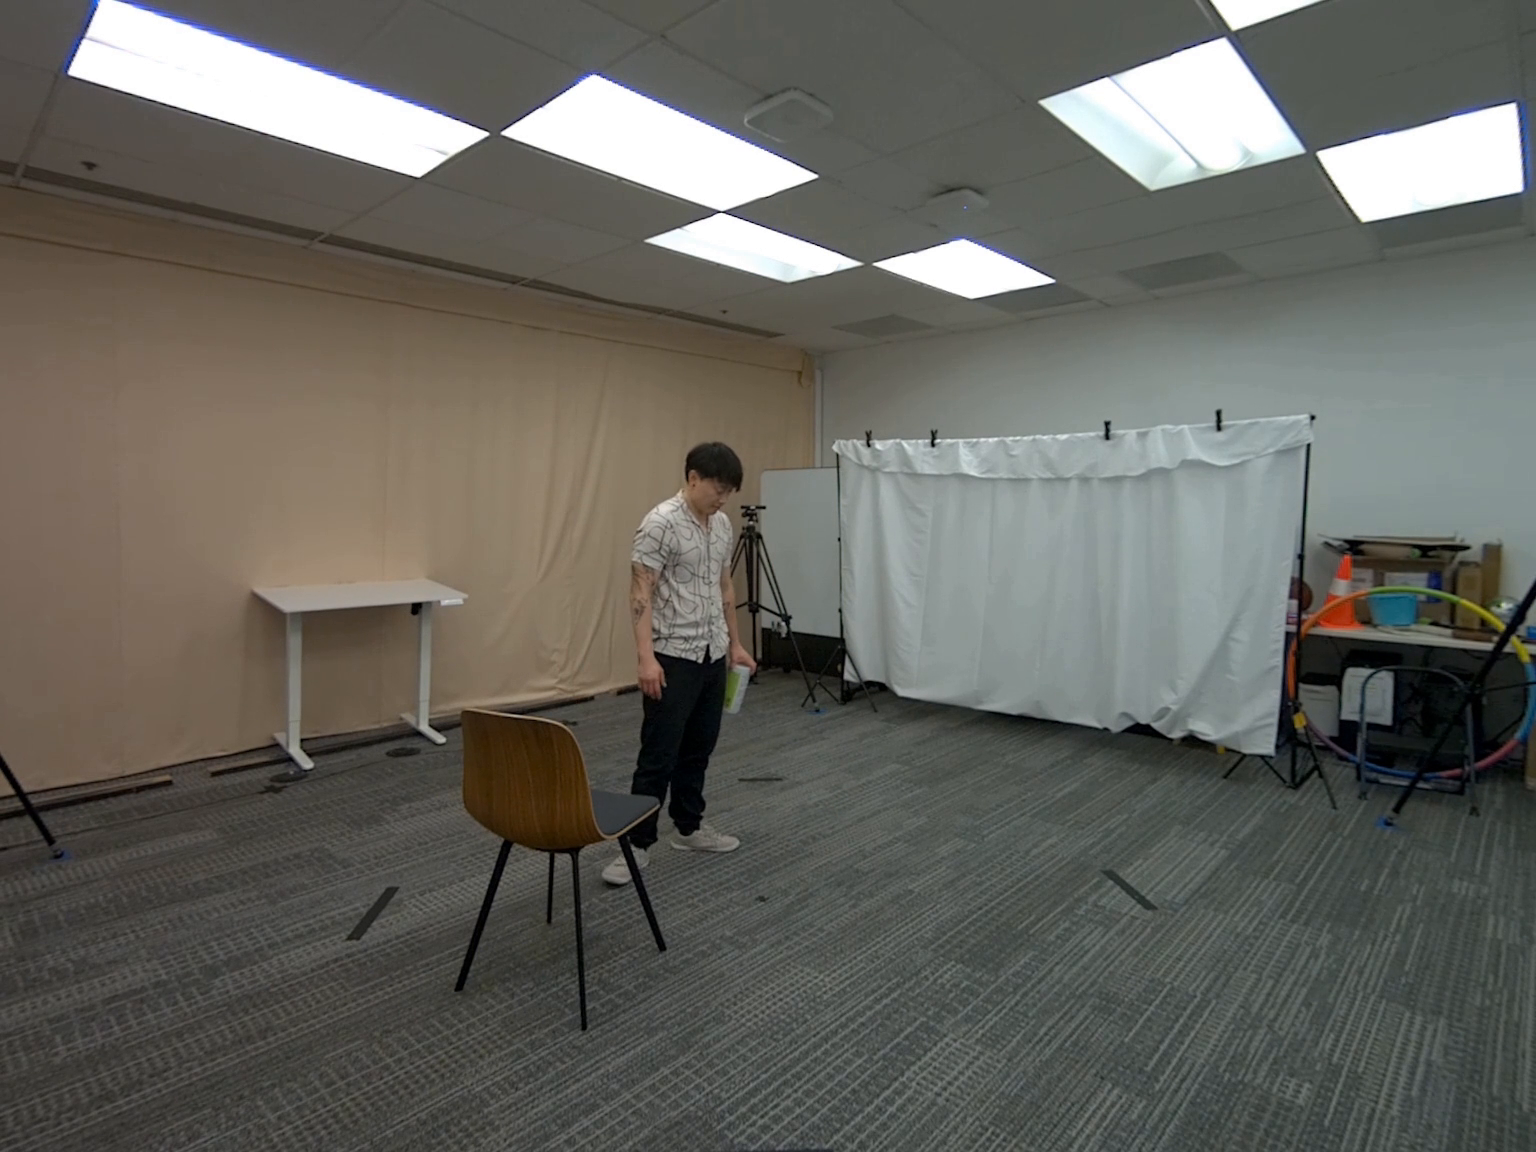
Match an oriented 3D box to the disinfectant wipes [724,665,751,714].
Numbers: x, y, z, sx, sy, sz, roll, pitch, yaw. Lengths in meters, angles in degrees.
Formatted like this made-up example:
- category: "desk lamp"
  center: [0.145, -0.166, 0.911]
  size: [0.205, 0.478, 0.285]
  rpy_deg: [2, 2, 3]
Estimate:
- category: "disinfectant wipes"
  center: [-0.142, 0.463, 3.548]
  size: [0.117, 0.216, 0.119]
  rpy_deg: [11, 12, -4]
